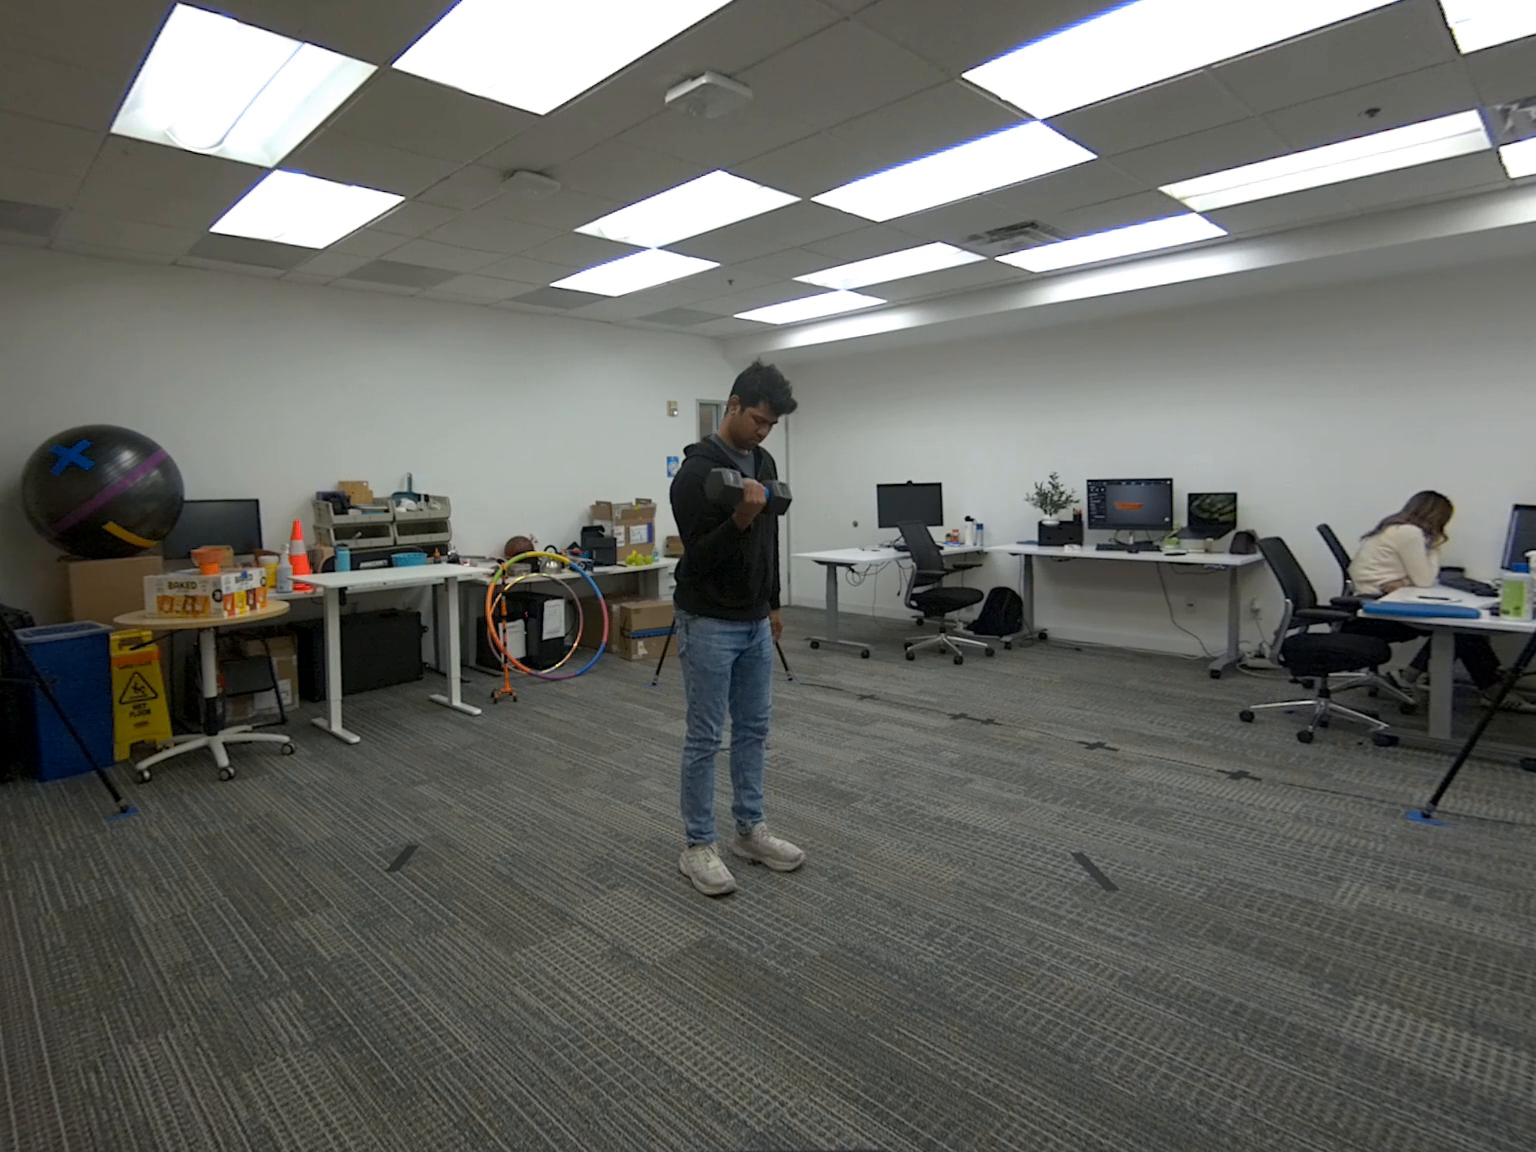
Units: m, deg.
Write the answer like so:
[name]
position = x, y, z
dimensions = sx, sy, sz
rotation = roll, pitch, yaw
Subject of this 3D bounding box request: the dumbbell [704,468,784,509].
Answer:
[dumbbell]
position = -0.062, -0.244, 2.698
dimensions = 0.284, 0.122, 0.113
rotation = 10, 26, -43
